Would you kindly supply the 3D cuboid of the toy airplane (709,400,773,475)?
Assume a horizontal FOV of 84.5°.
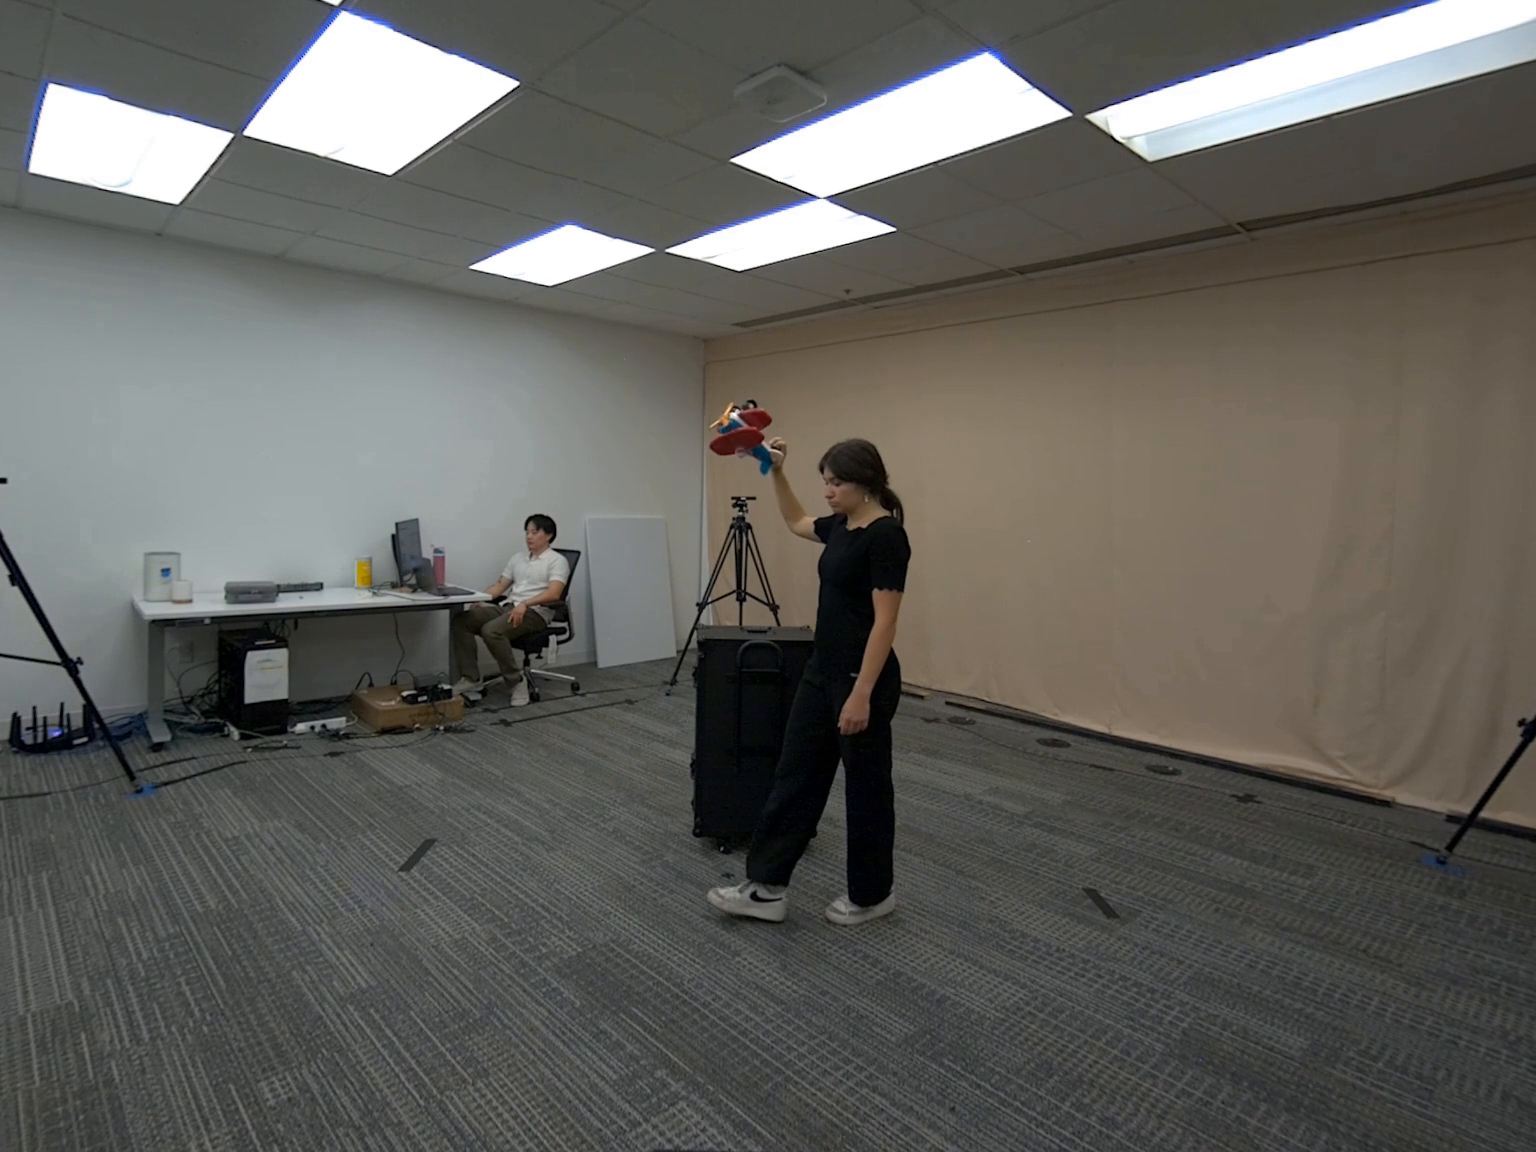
[{"bbox_3d":[-0.062,-0.489,2.913,0.260,0.157,0.249,36,-31,2],"label":"toy airplane"}]
